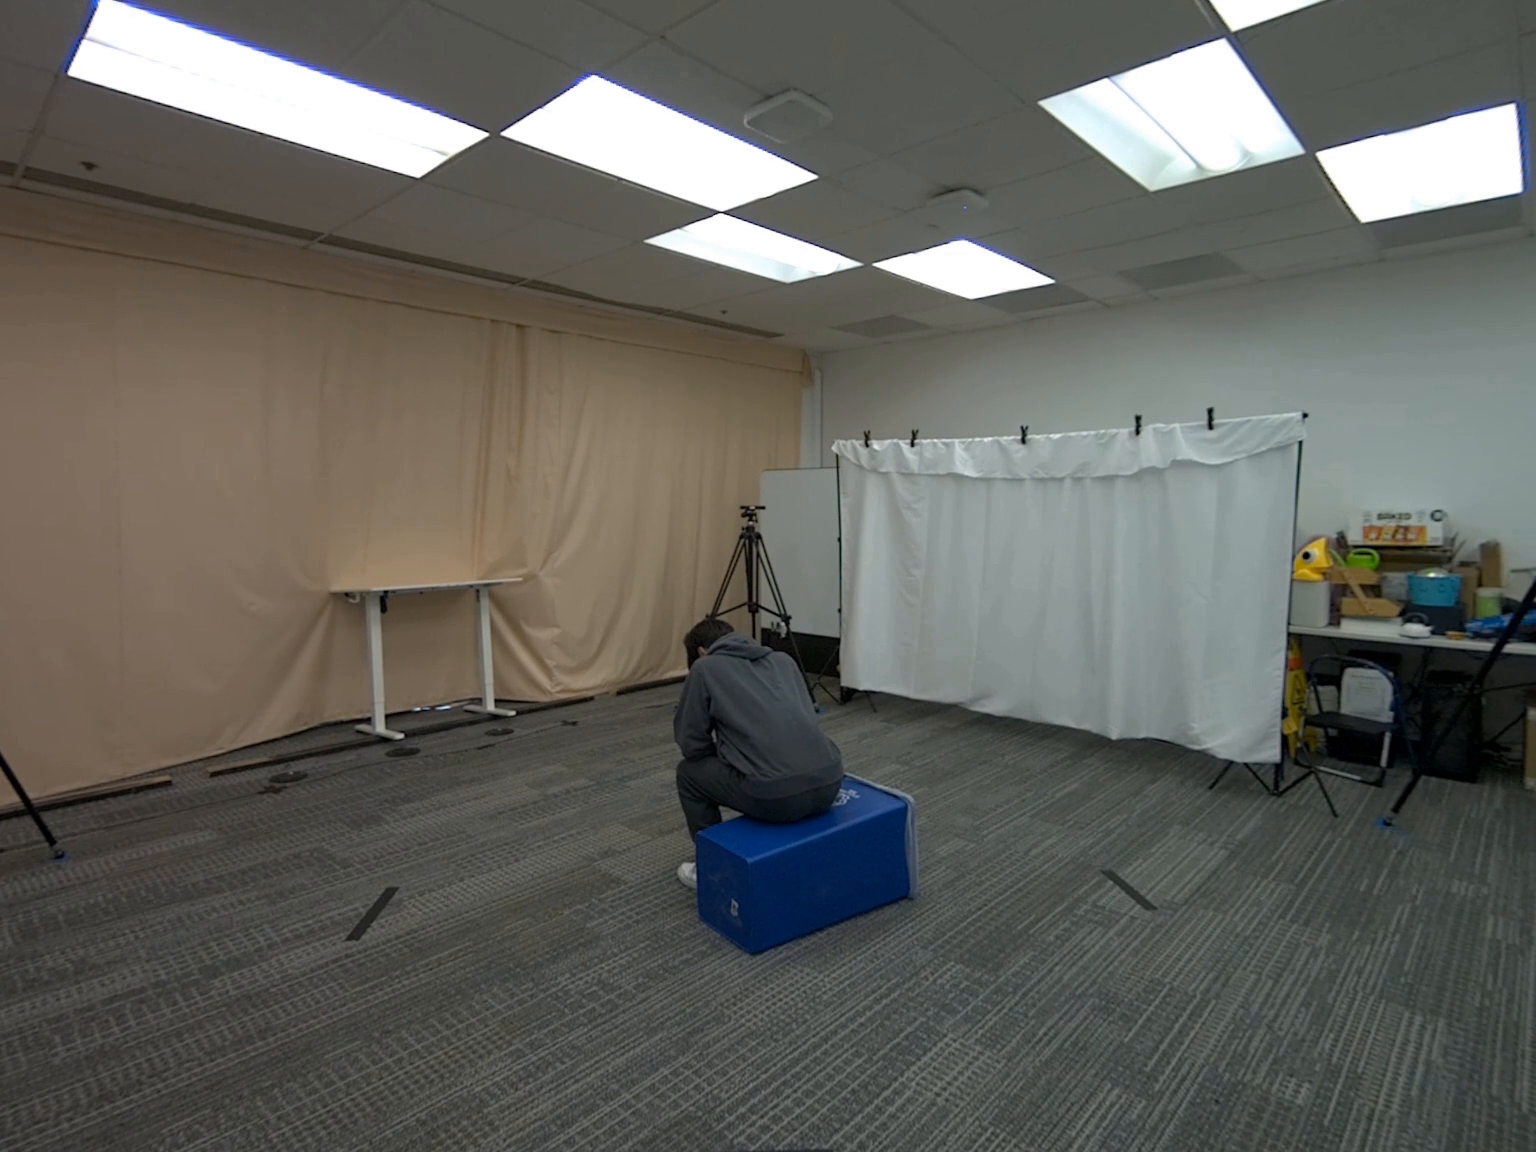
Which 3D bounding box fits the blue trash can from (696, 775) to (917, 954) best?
[{"bbox_3d":[0.144,0.983,2.900,0.693,0.376,0.386,-8,8,-37],"label":"blue trash can"}]
